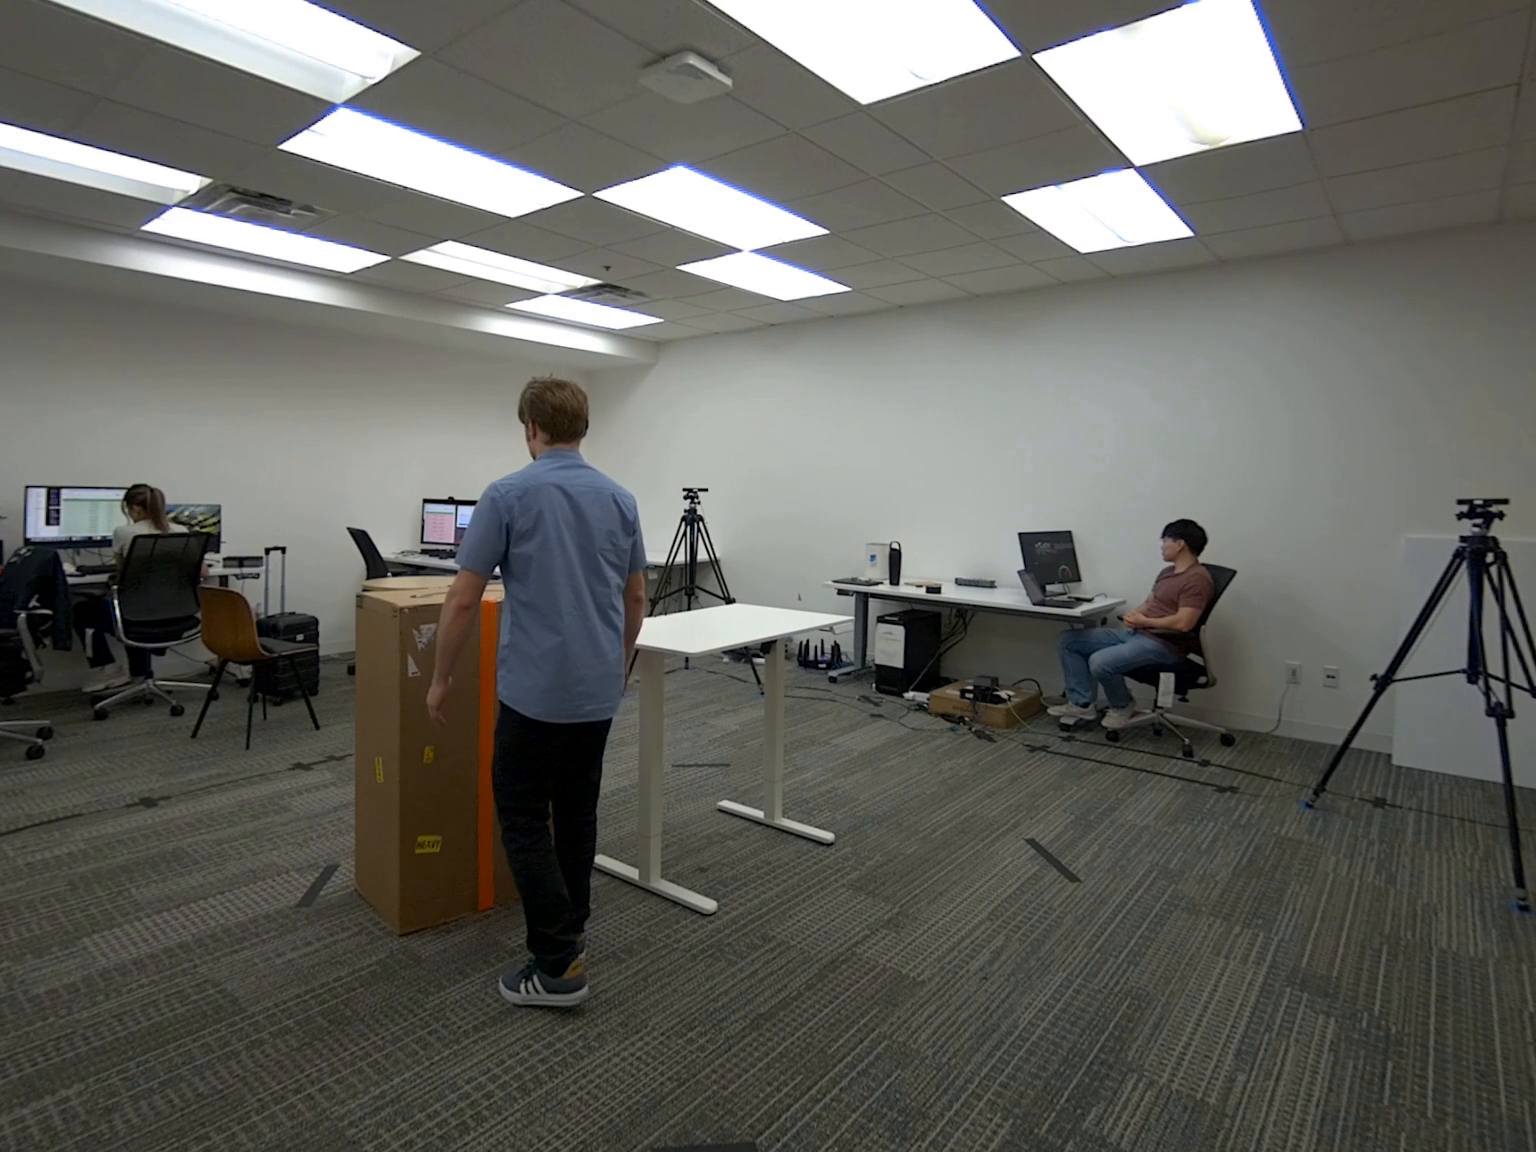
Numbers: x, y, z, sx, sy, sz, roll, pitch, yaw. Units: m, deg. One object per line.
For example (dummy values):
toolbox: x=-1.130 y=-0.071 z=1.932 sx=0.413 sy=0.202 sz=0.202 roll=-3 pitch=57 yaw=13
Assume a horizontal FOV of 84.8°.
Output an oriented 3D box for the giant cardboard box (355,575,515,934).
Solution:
giant cardboard box: x=-1.070 y=0.563 z=2.921 sx=0.560 sy=1.023 sz=0.441 roll=-2 pitch=5 yaw=-43
